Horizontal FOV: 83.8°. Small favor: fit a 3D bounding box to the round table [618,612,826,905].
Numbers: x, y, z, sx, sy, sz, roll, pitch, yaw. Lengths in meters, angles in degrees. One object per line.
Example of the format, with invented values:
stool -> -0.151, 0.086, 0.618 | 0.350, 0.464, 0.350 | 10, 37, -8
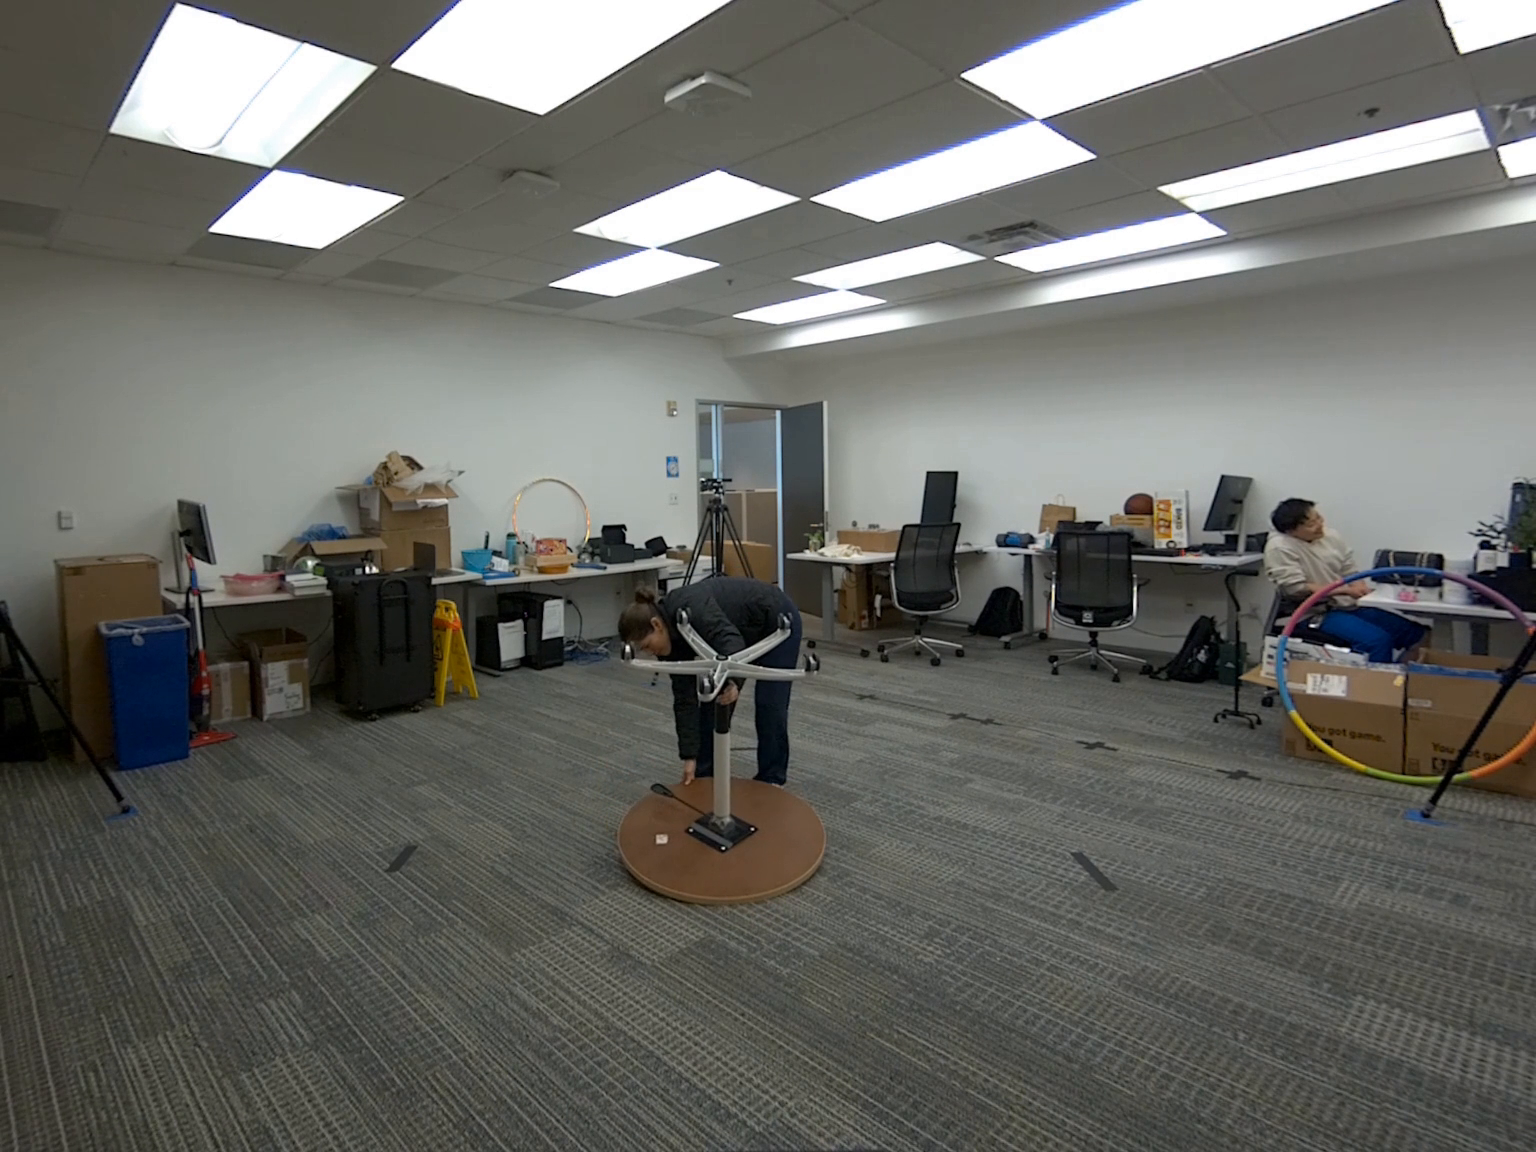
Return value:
round table -> -0.170, 0.585, 3.094 | 0.784, 0.776, 0.796 | 2, 15, -2
